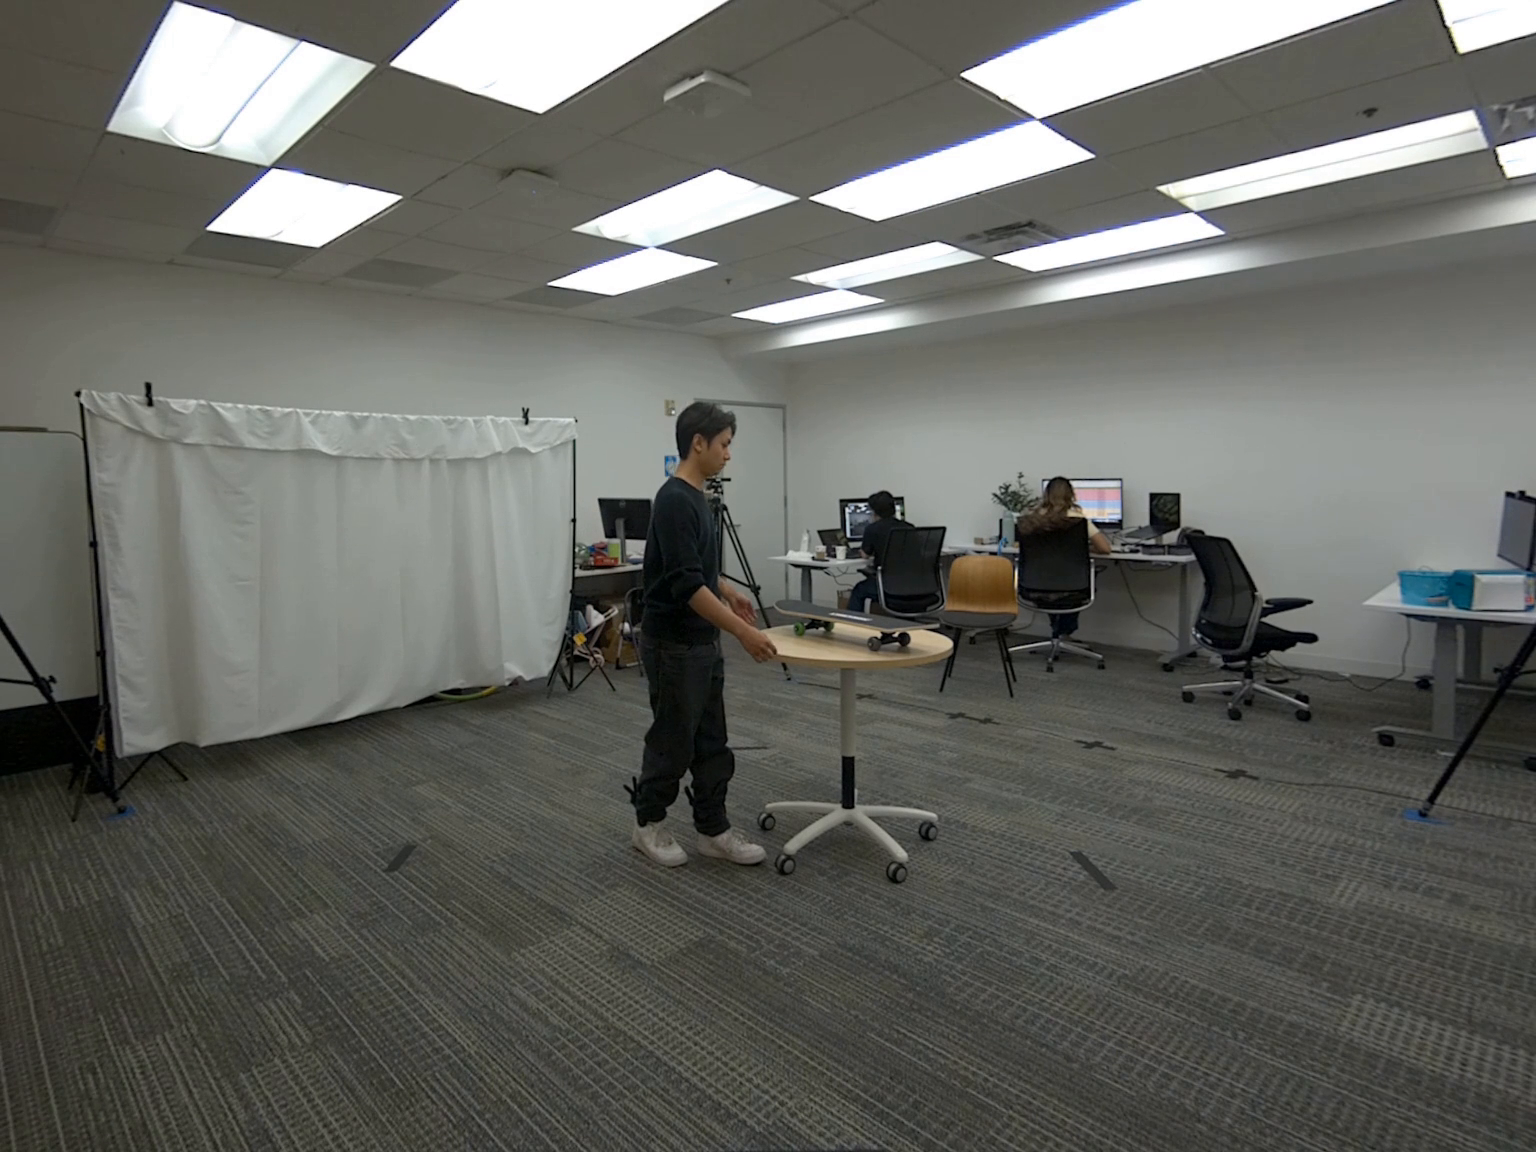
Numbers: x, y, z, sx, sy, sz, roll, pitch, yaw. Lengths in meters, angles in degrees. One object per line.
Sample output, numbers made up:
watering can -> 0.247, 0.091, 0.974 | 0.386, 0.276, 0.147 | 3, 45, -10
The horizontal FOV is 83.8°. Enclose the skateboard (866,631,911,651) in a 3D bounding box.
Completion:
skateboard -> 0.305, 0.194, 3.189 | 0.188, 0.110, 0.810 | -5, 8, -37
